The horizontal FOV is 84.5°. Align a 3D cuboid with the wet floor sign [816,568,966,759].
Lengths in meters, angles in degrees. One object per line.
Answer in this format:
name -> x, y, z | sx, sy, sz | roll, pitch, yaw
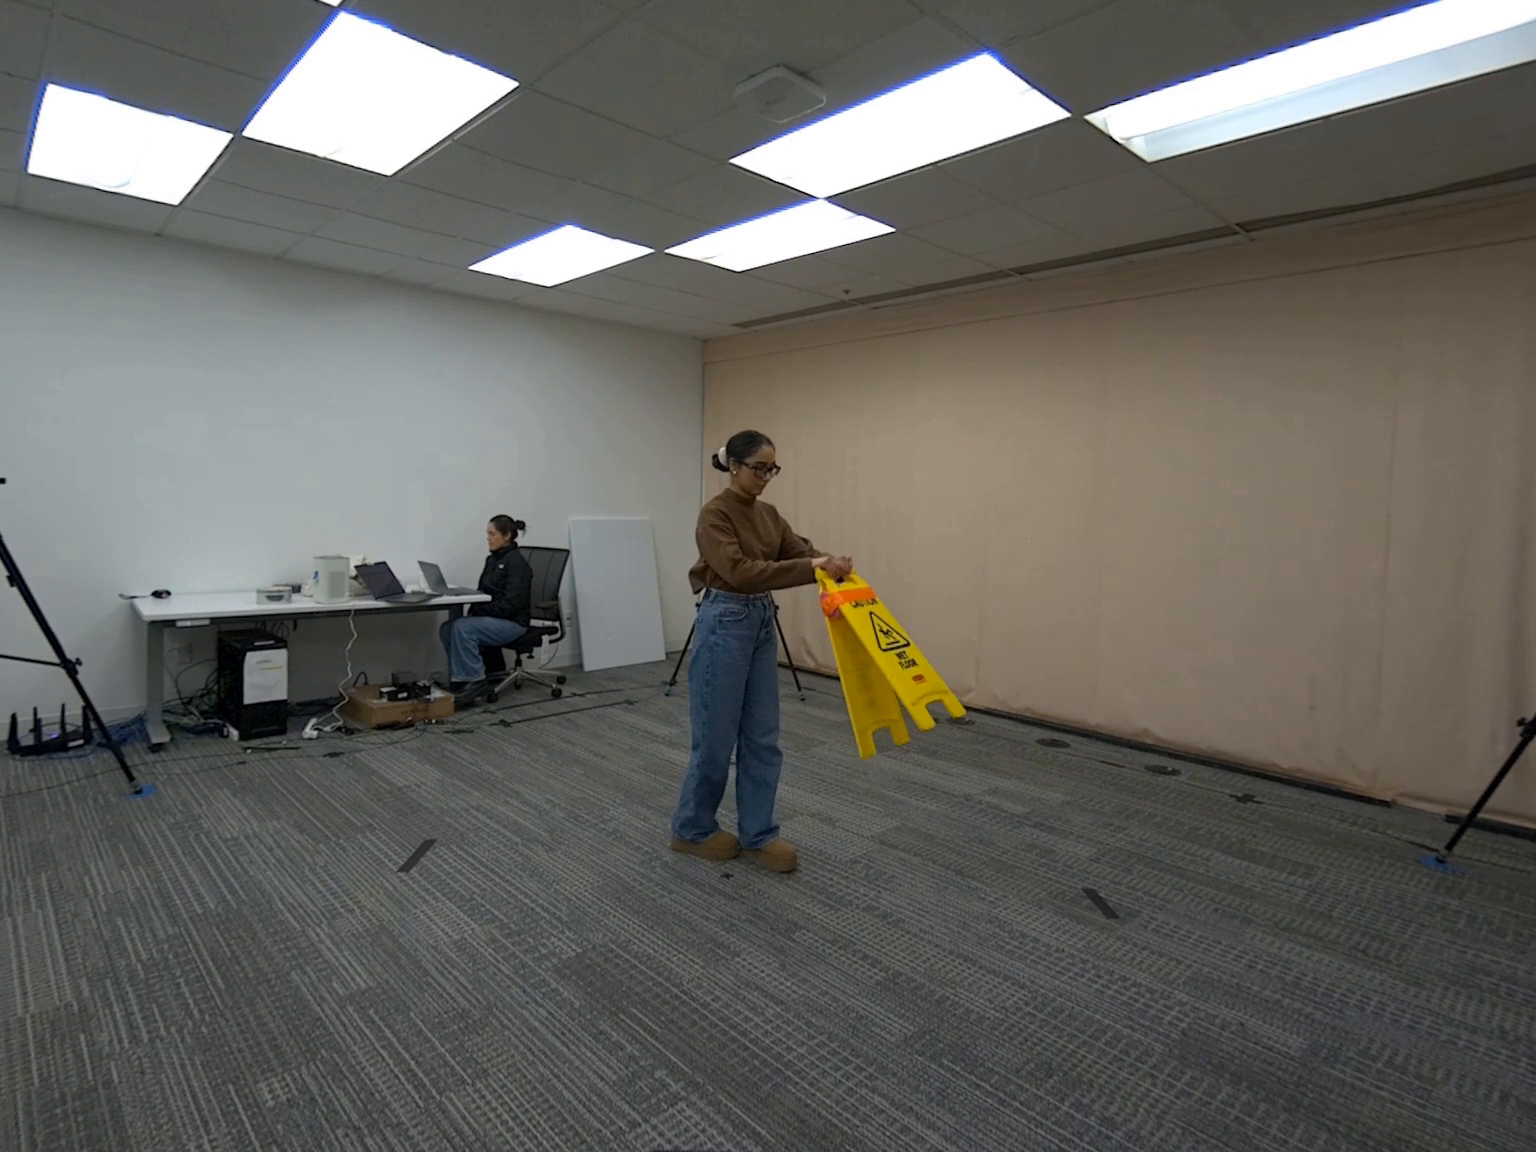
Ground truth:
wet floor sign -> 0.343, 0.249, 2.885 | 0.276, 0.656, 0.291 | -6, -24, -46
